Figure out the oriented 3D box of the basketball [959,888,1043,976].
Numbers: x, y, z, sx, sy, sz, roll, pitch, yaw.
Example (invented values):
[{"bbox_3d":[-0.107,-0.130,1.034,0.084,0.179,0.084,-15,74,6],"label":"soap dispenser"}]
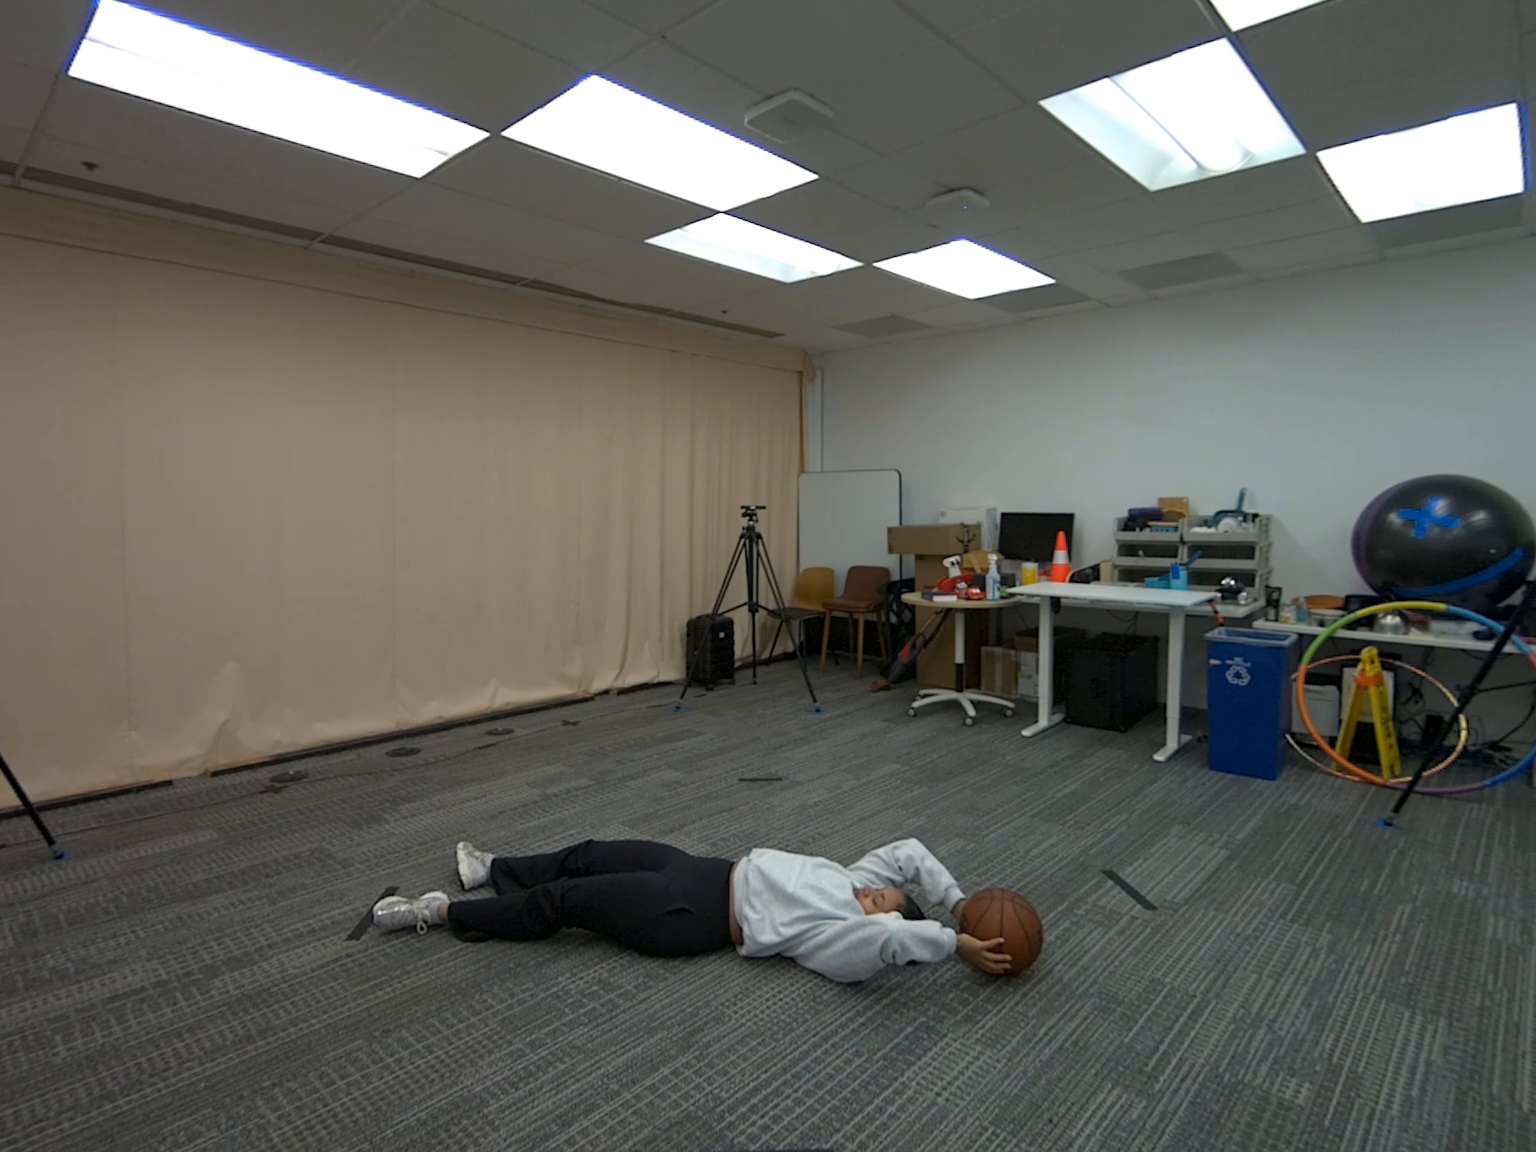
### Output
[{"bbox_3d":[0.697,1.056,2.523,0.236,0.236,0.236,2,0,-2],"label":"basketball"}]
